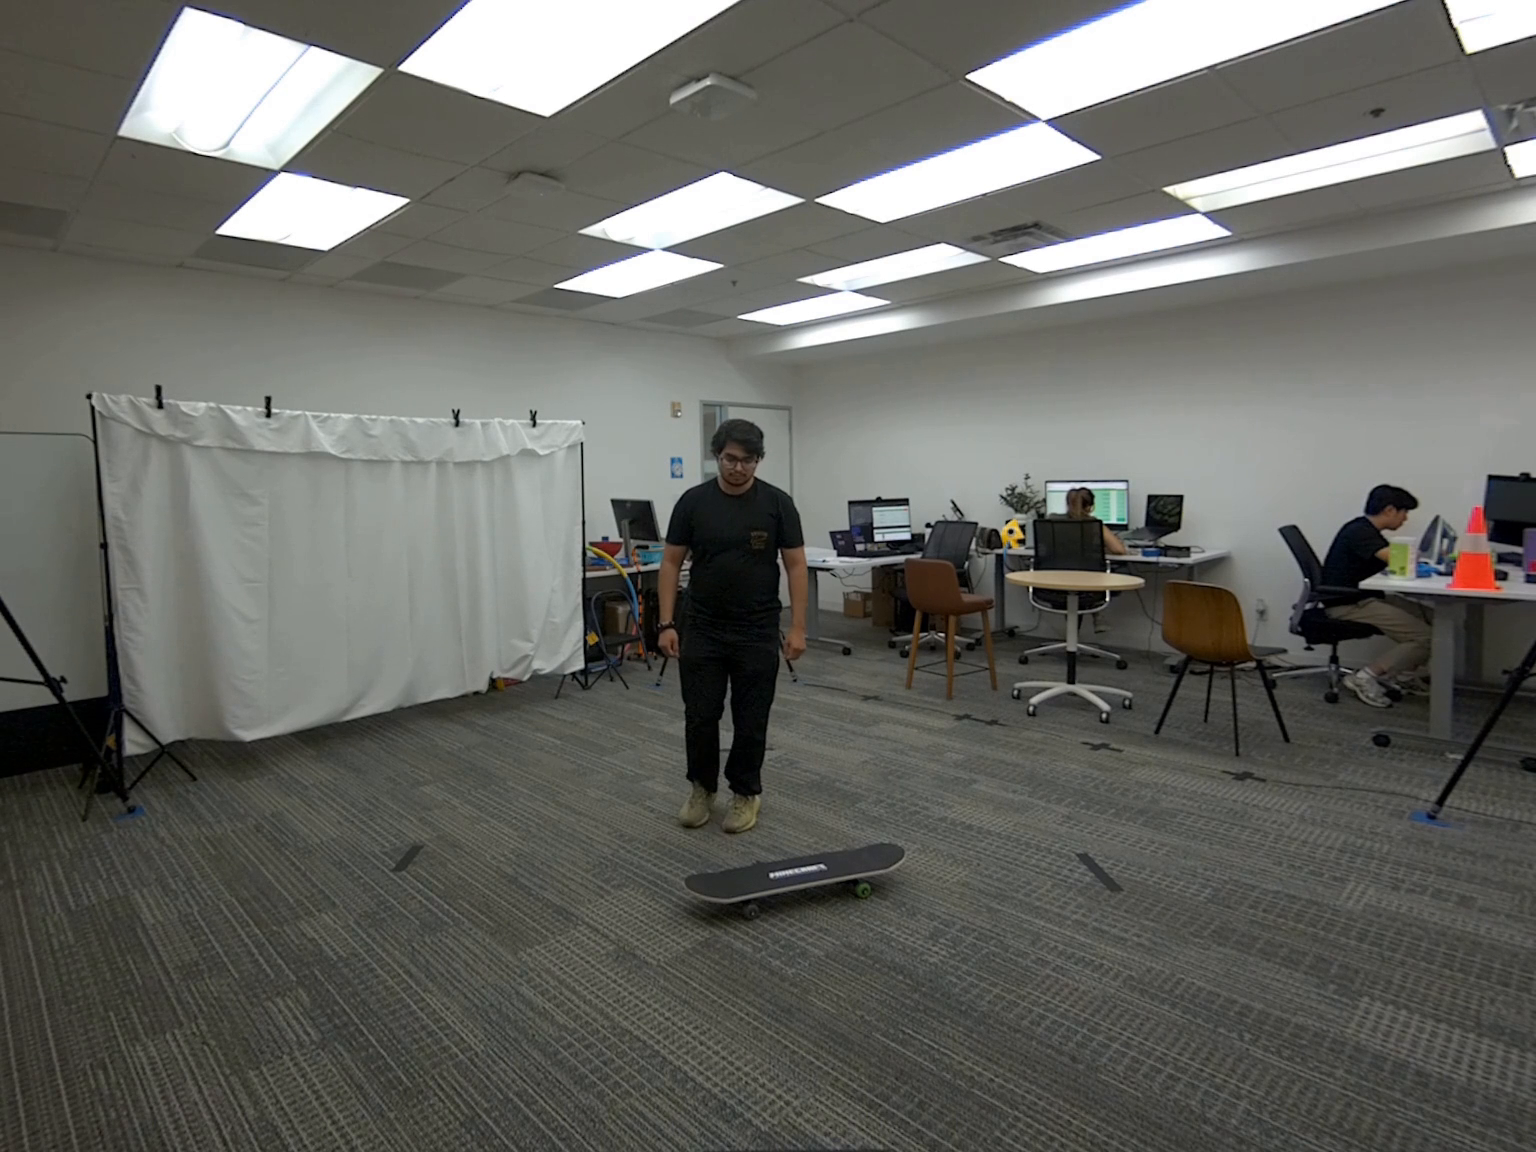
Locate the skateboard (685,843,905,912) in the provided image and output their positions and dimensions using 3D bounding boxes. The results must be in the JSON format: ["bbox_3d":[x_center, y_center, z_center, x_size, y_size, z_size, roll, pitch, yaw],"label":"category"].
[{"bbox_3d":[0.103,1.018,2.855,0.773,0.110,0.197,-3,5,-18],"label":"skateboard"}]
